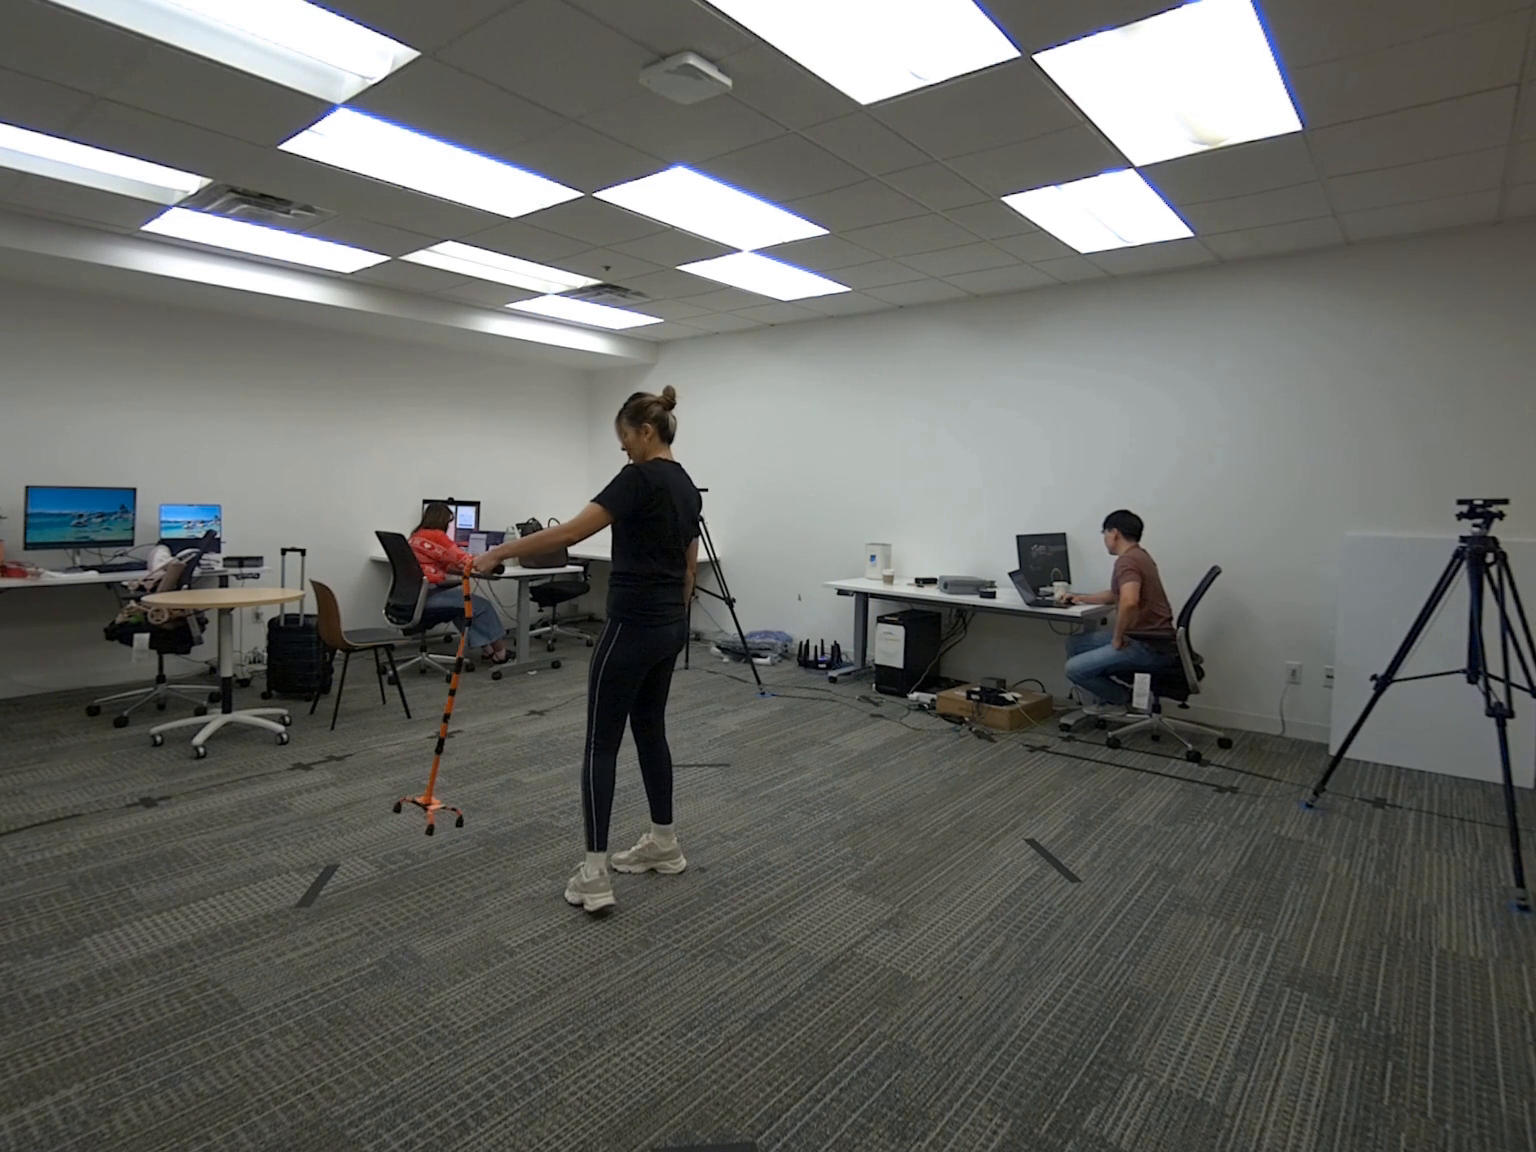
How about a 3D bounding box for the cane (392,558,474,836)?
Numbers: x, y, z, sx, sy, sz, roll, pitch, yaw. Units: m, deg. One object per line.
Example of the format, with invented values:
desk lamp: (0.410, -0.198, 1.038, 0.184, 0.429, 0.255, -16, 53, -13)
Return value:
cane: (-1.058, 0.397, 2.848, 0.213, 0.905, 0.147, 16, 4, 30)
